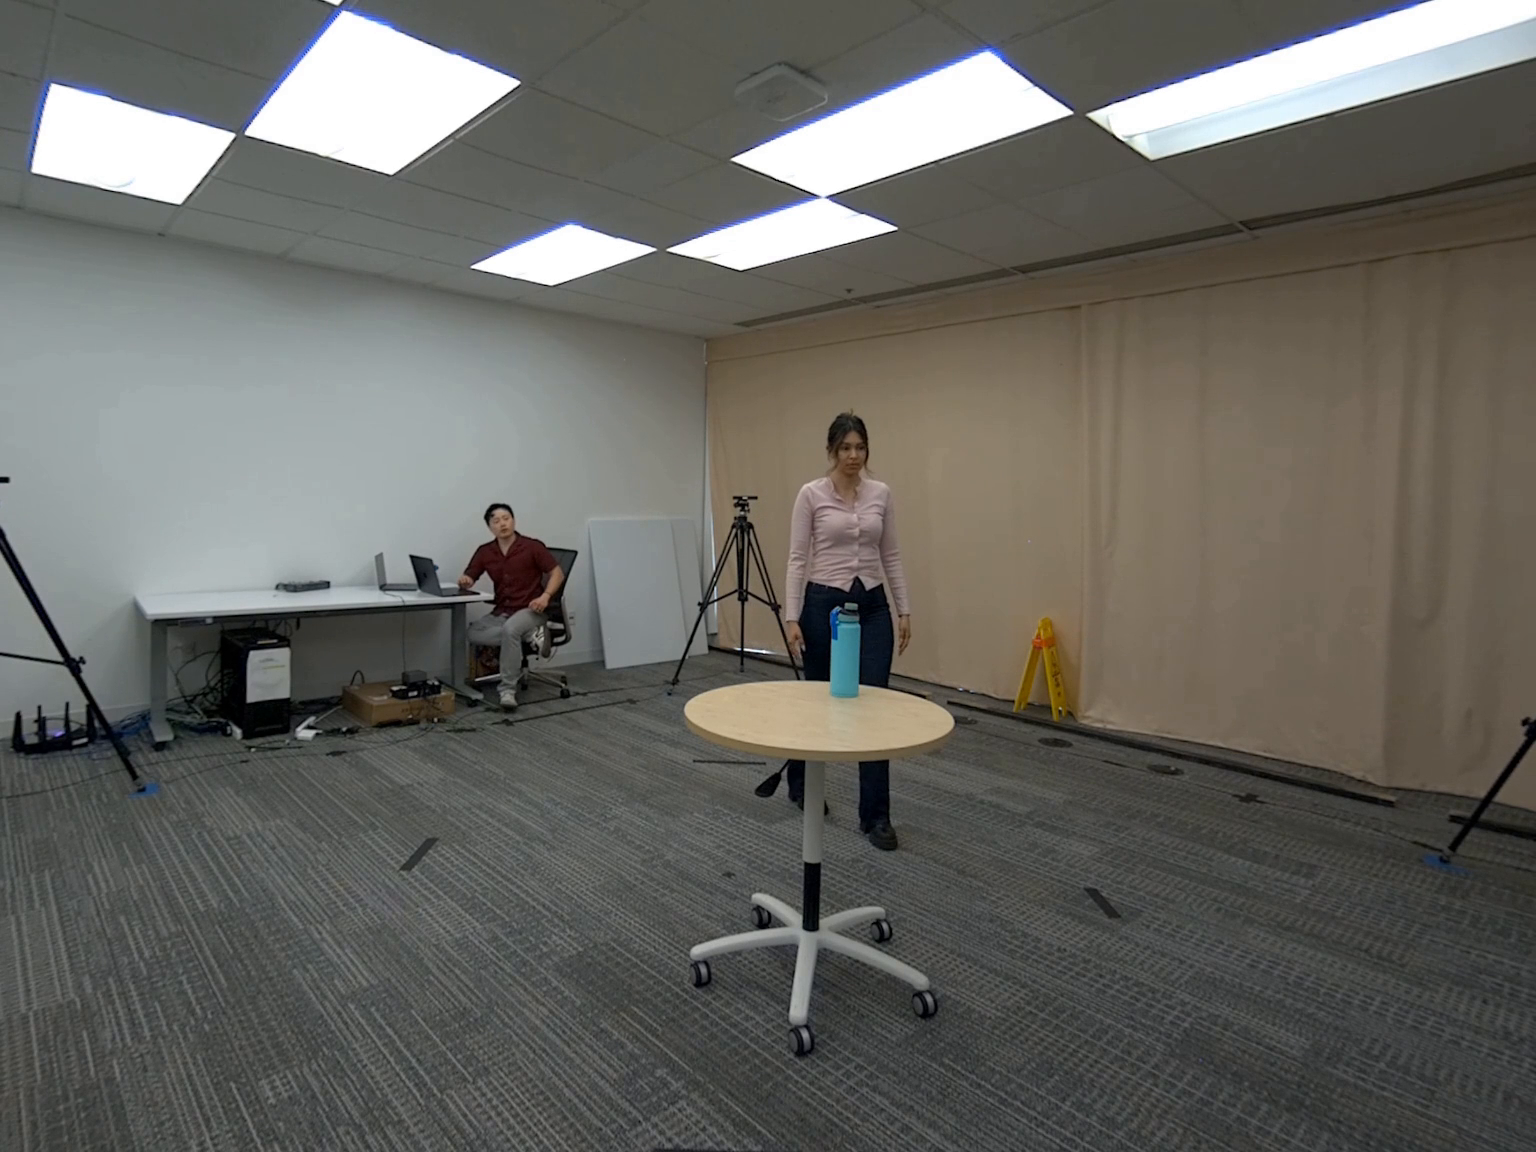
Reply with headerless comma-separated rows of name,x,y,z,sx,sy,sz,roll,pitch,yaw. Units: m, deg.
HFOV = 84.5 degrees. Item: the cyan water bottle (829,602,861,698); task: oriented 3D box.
cyan water bottle,0.237,0.233,2.615,0.092,0.282,0.093,3,4,-2
